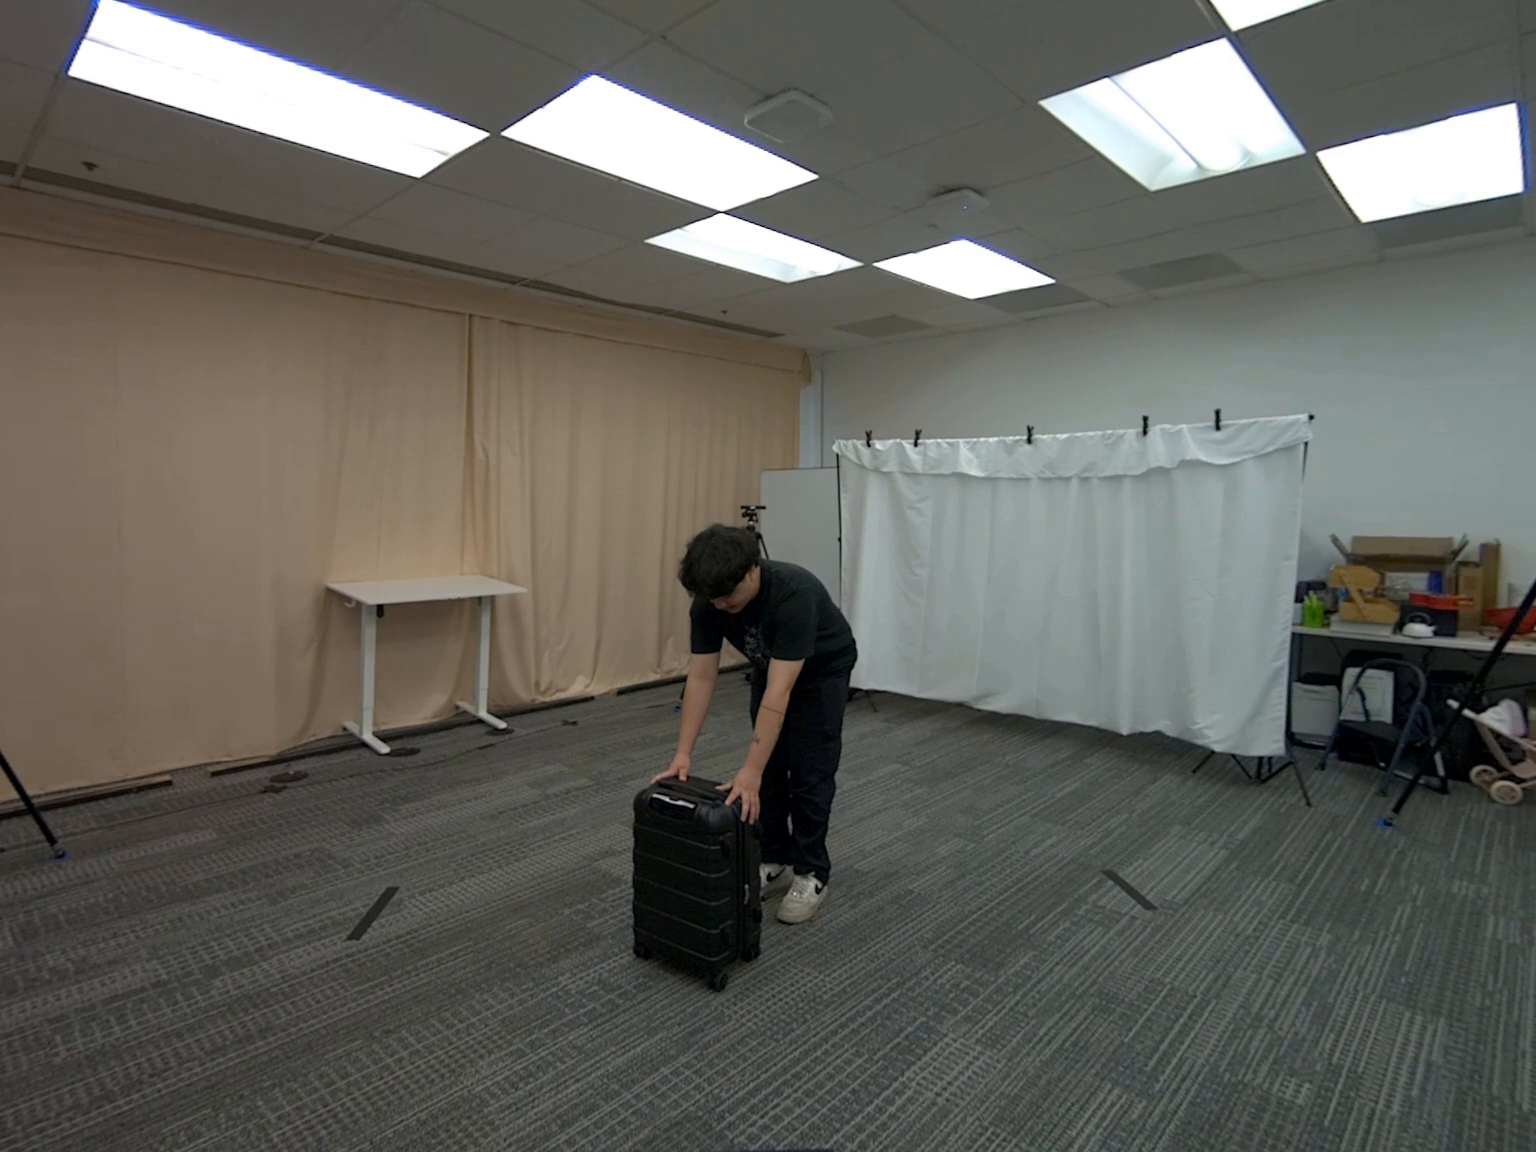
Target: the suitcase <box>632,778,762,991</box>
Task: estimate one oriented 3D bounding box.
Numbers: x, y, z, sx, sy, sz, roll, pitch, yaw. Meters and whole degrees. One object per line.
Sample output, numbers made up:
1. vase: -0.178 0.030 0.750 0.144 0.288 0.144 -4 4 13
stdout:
1. suitcase: -0.221 0.908 2.567 0.387 0.548 0.241 2 5 35
